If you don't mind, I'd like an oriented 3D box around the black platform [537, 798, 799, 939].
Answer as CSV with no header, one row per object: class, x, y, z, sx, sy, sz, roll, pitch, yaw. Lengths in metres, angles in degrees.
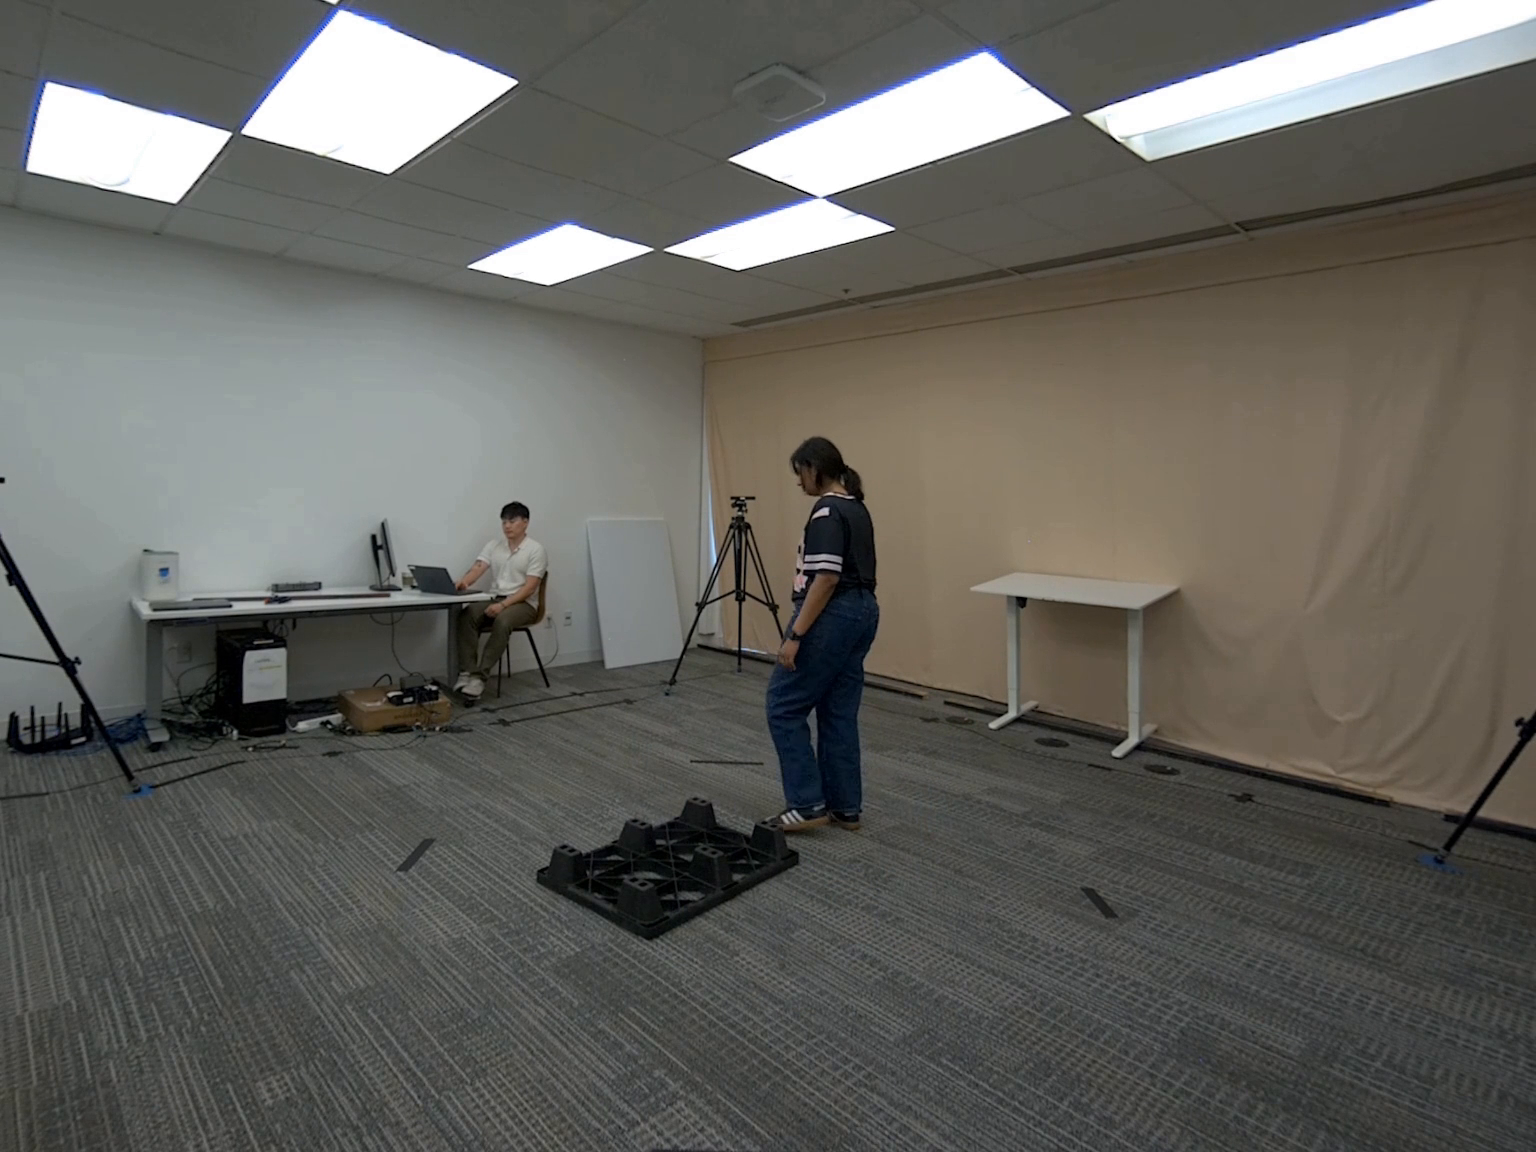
black platform,-0.361,1.034,3.121,0.620,0.143,0.788,6,7,39
